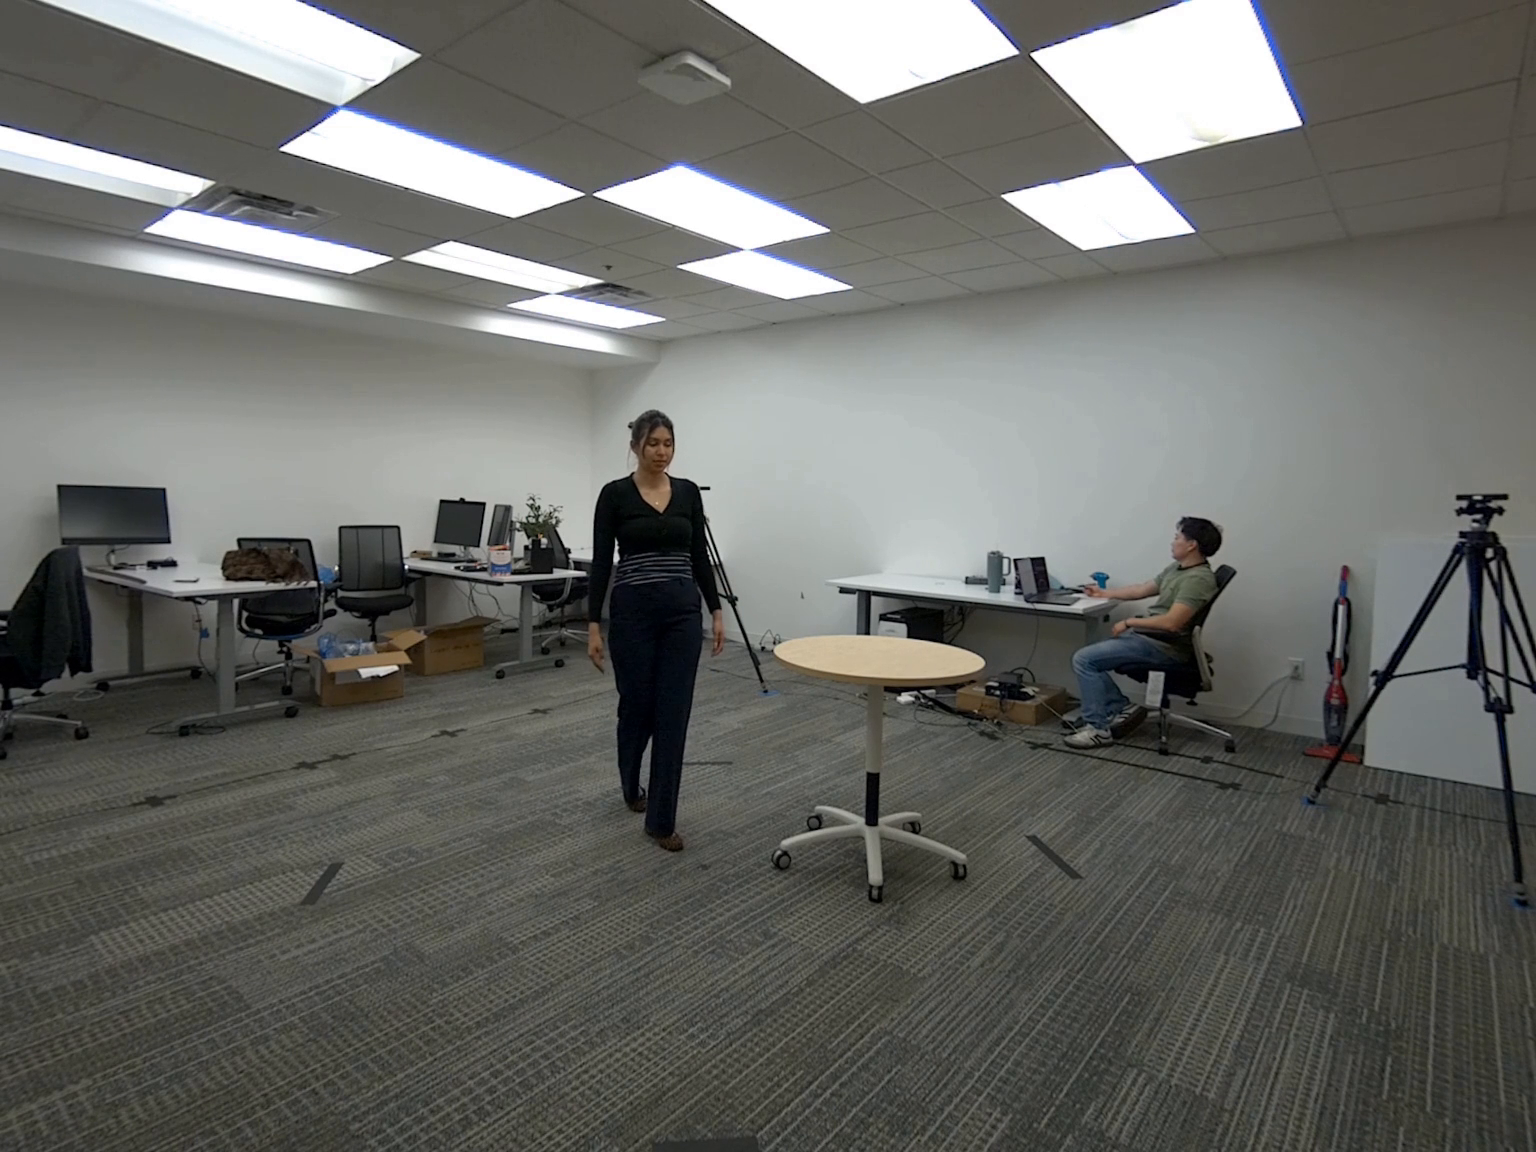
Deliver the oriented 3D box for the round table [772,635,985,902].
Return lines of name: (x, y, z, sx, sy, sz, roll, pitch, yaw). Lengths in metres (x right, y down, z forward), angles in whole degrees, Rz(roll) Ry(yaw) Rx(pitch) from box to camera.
round table: (0.386, 0.680, 3.179, 0.763, 0.791, 0.768, 1, 5, -2)
